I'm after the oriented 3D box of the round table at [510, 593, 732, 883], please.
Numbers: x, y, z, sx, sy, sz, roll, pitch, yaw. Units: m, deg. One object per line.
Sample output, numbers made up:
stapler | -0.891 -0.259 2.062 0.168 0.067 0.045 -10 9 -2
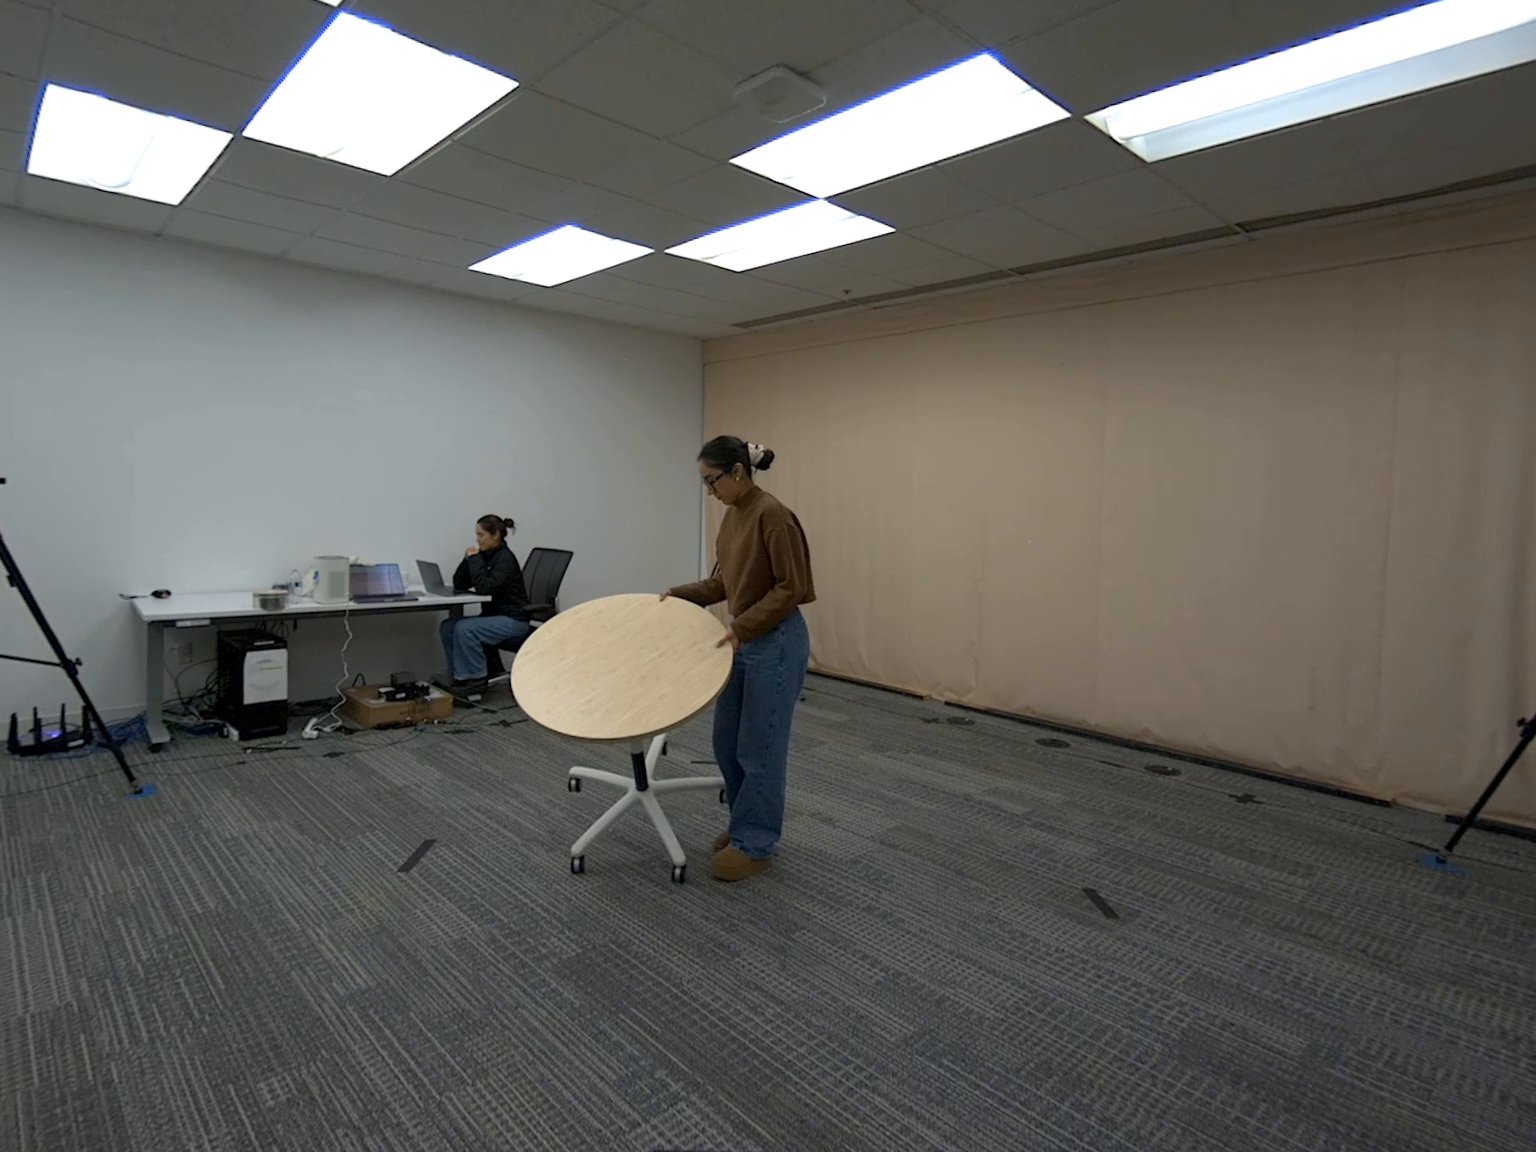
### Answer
round table | -0.506 0.613 3.127 0.764 0.777 0.780 -2 33 0
